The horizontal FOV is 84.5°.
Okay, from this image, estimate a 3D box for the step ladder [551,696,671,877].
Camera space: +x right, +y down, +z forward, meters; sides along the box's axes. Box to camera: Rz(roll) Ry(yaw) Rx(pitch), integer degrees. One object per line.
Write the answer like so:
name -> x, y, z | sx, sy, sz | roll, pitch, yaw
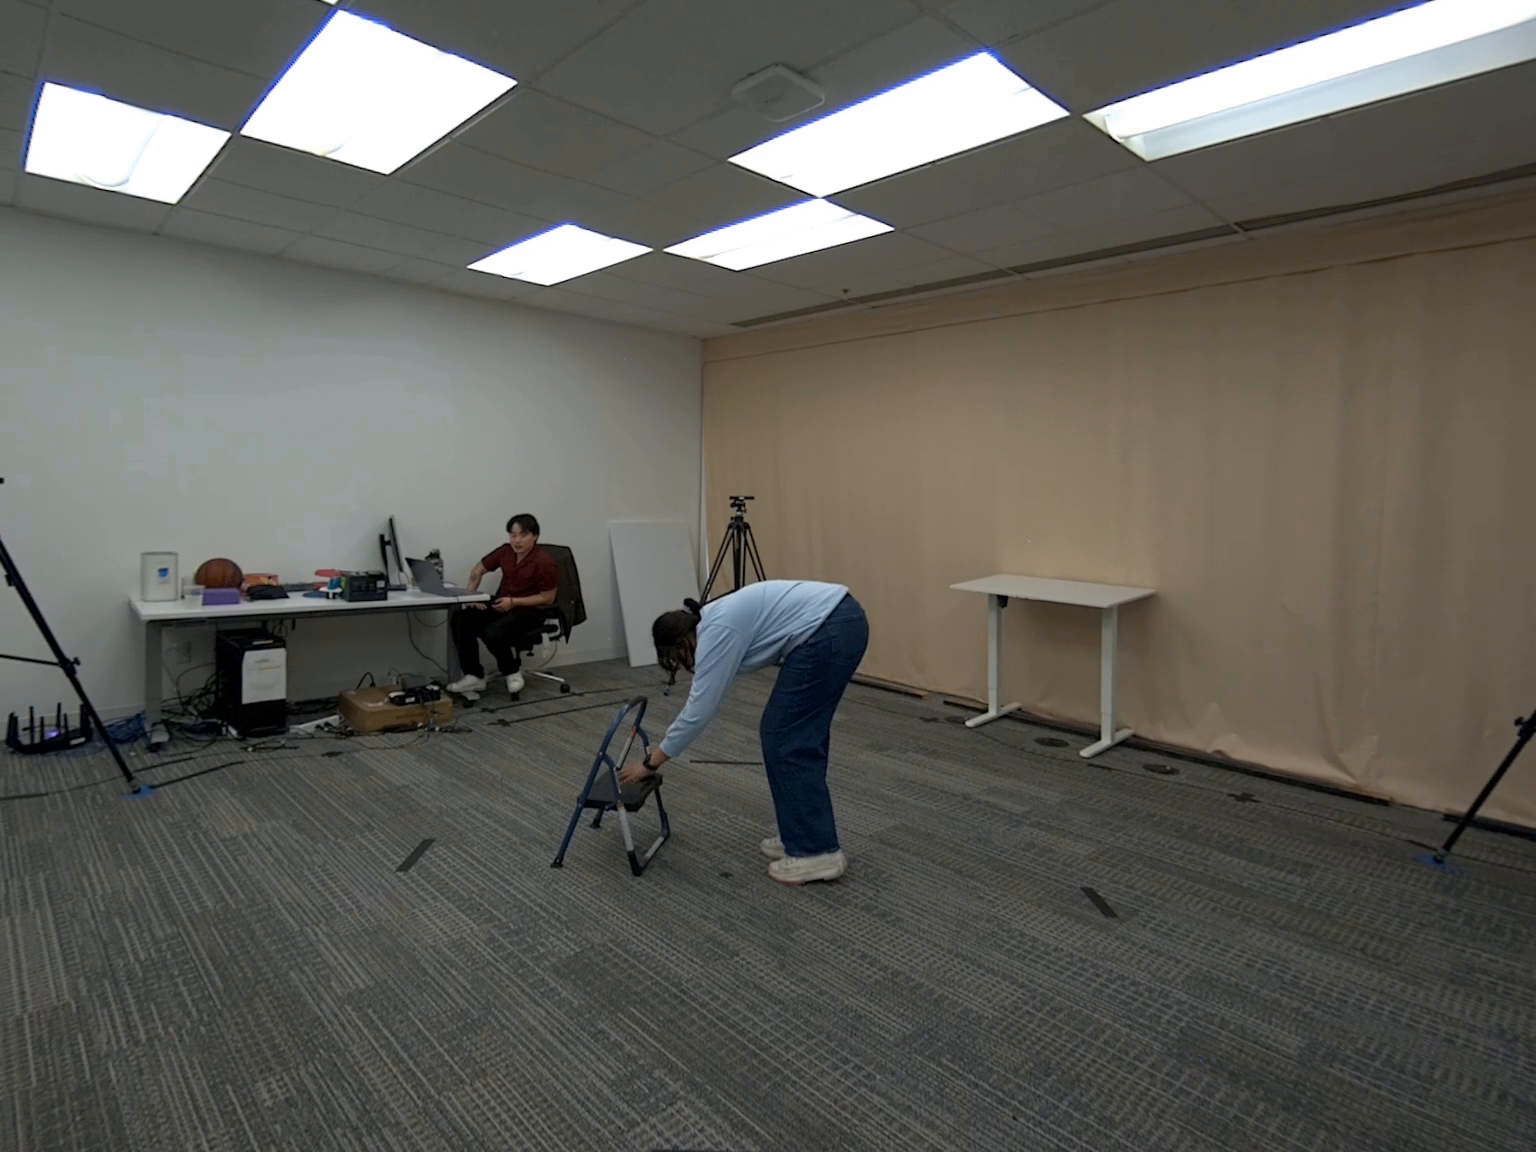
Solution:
step ladder -> -0.599, 0.771, 3.290 | 0.352, 0.604, 0.428 | 2, 4, 10
